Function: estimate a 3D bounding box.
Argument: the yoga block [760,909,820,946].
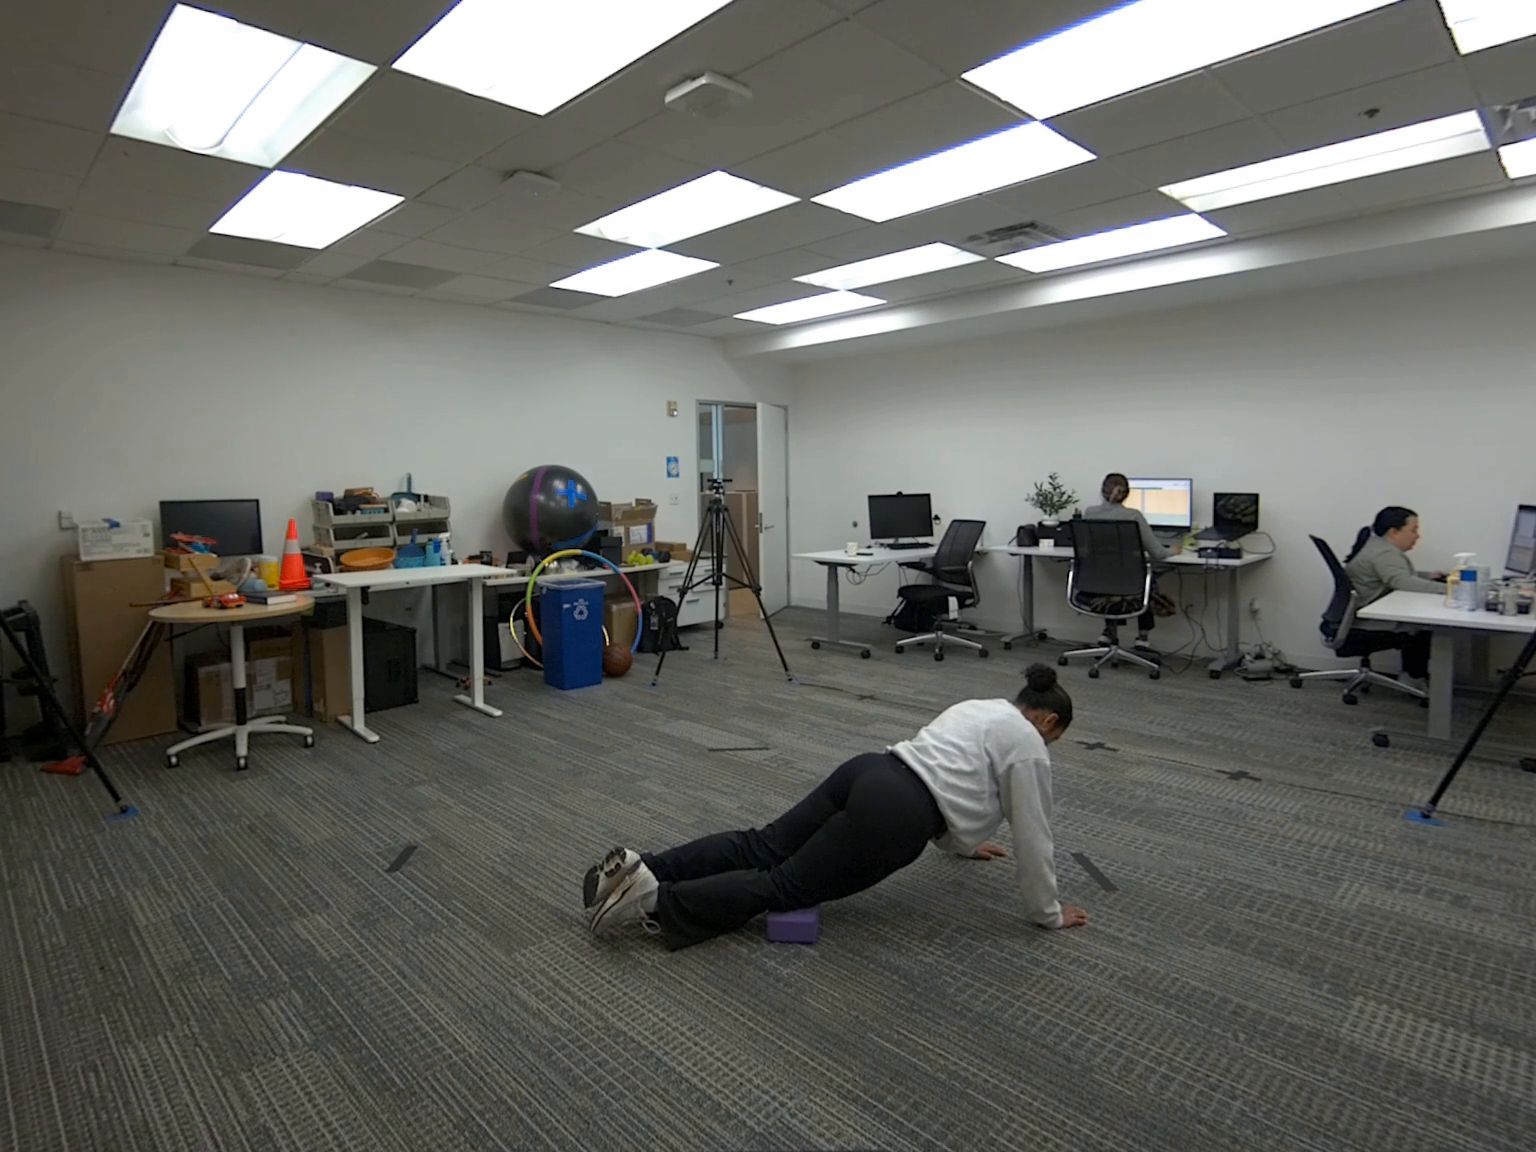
[{"bbox_3d":[0.079,1.039,2.672,0.150,0.076,0.228,-2,5,8],"label":"yoga block"}]
